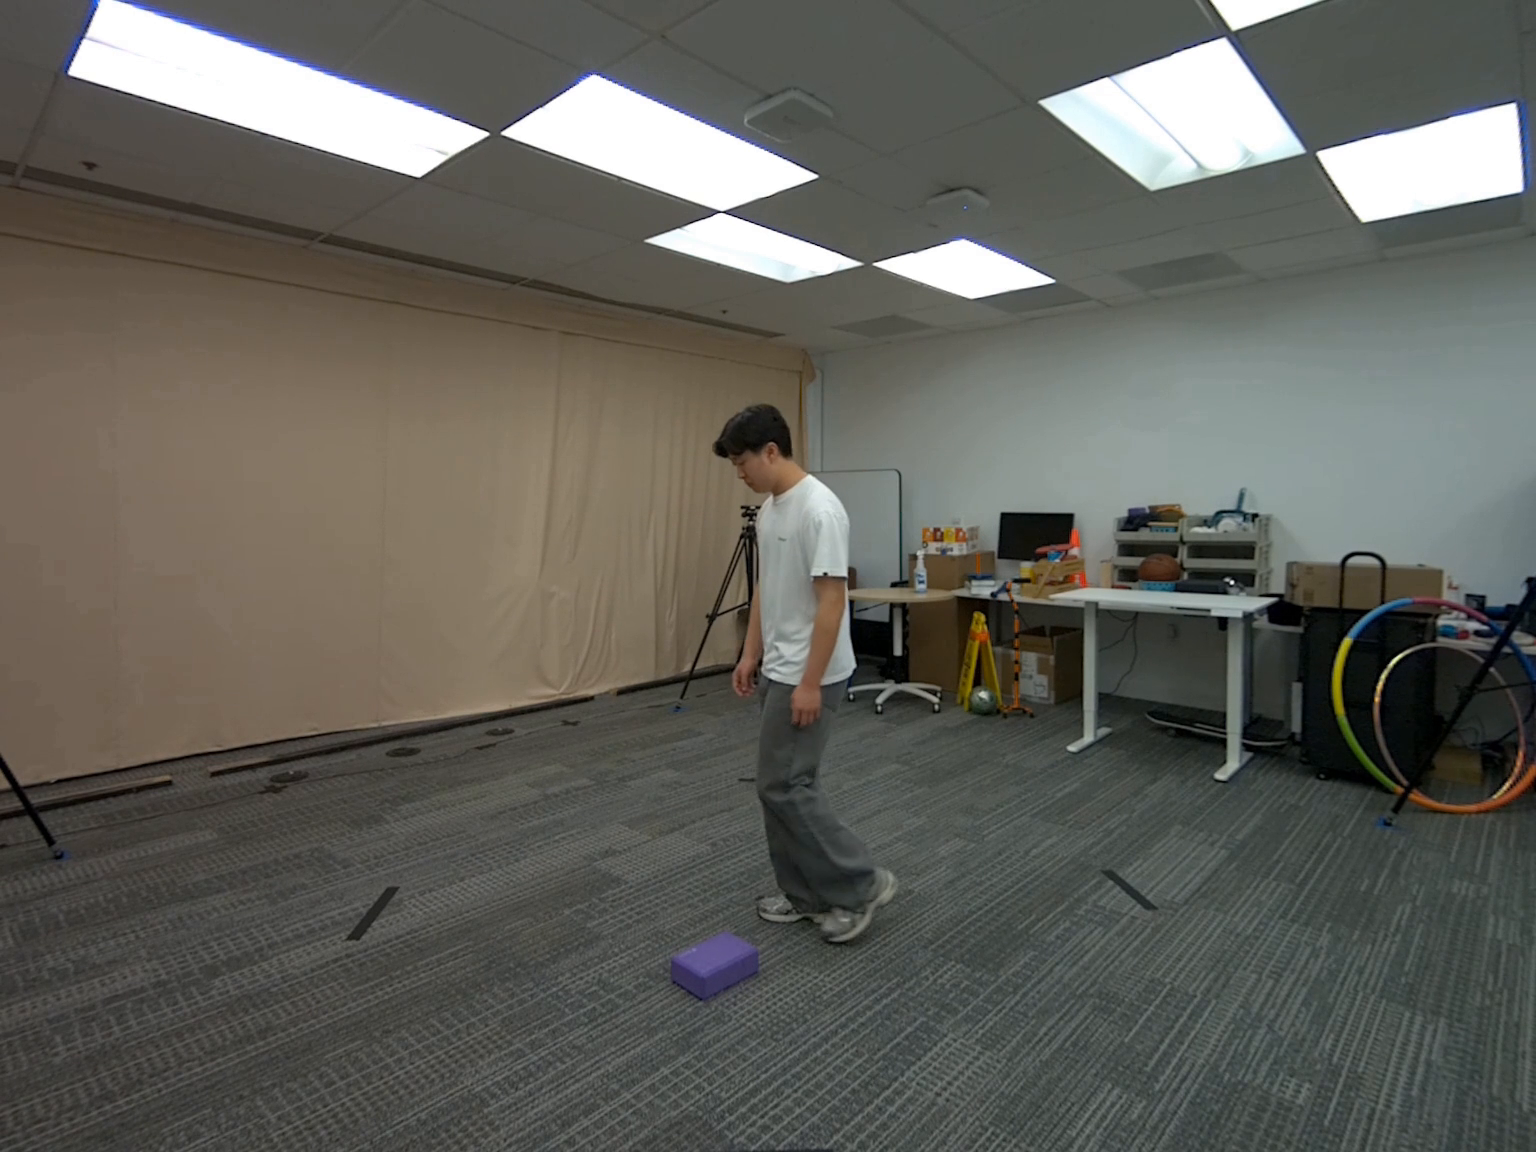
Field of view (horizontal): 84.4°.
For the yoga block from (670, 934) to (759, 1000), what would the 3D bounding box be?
[{"bbox_3d":[-0.149,1.149,2.485,0.222,0.076,0.154,-5,7,-45],"label":"yoga block"}]
